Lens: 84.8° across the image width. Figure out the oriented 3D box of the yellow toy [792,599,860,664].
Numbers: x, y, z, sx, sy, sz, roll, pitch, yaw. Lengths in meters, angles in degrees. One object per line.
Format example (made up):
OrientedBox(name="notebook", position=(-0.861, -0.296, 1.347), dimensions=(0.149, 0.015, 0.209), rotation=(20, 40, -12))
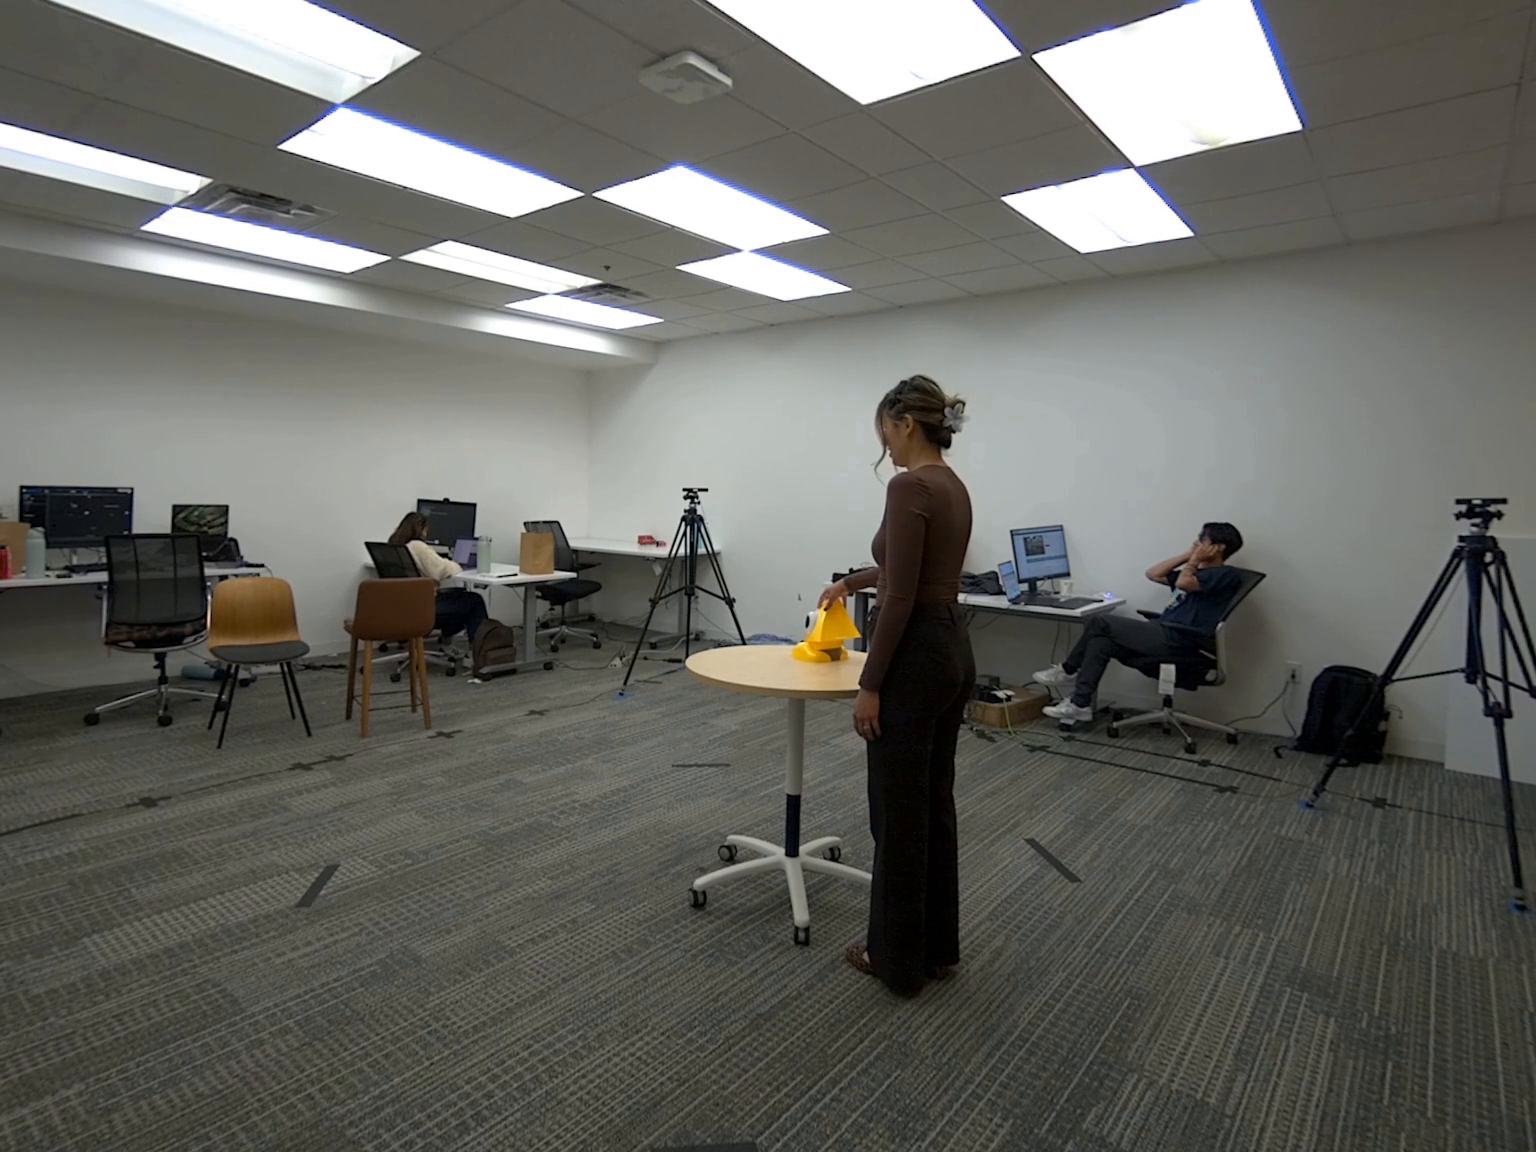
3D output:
OrientedBox(name="yellow toy", position=(0.187, 0.175, 3.037), dimensions=(0.198, 0.230, 0.199), rotation=(0, 4, -40))
